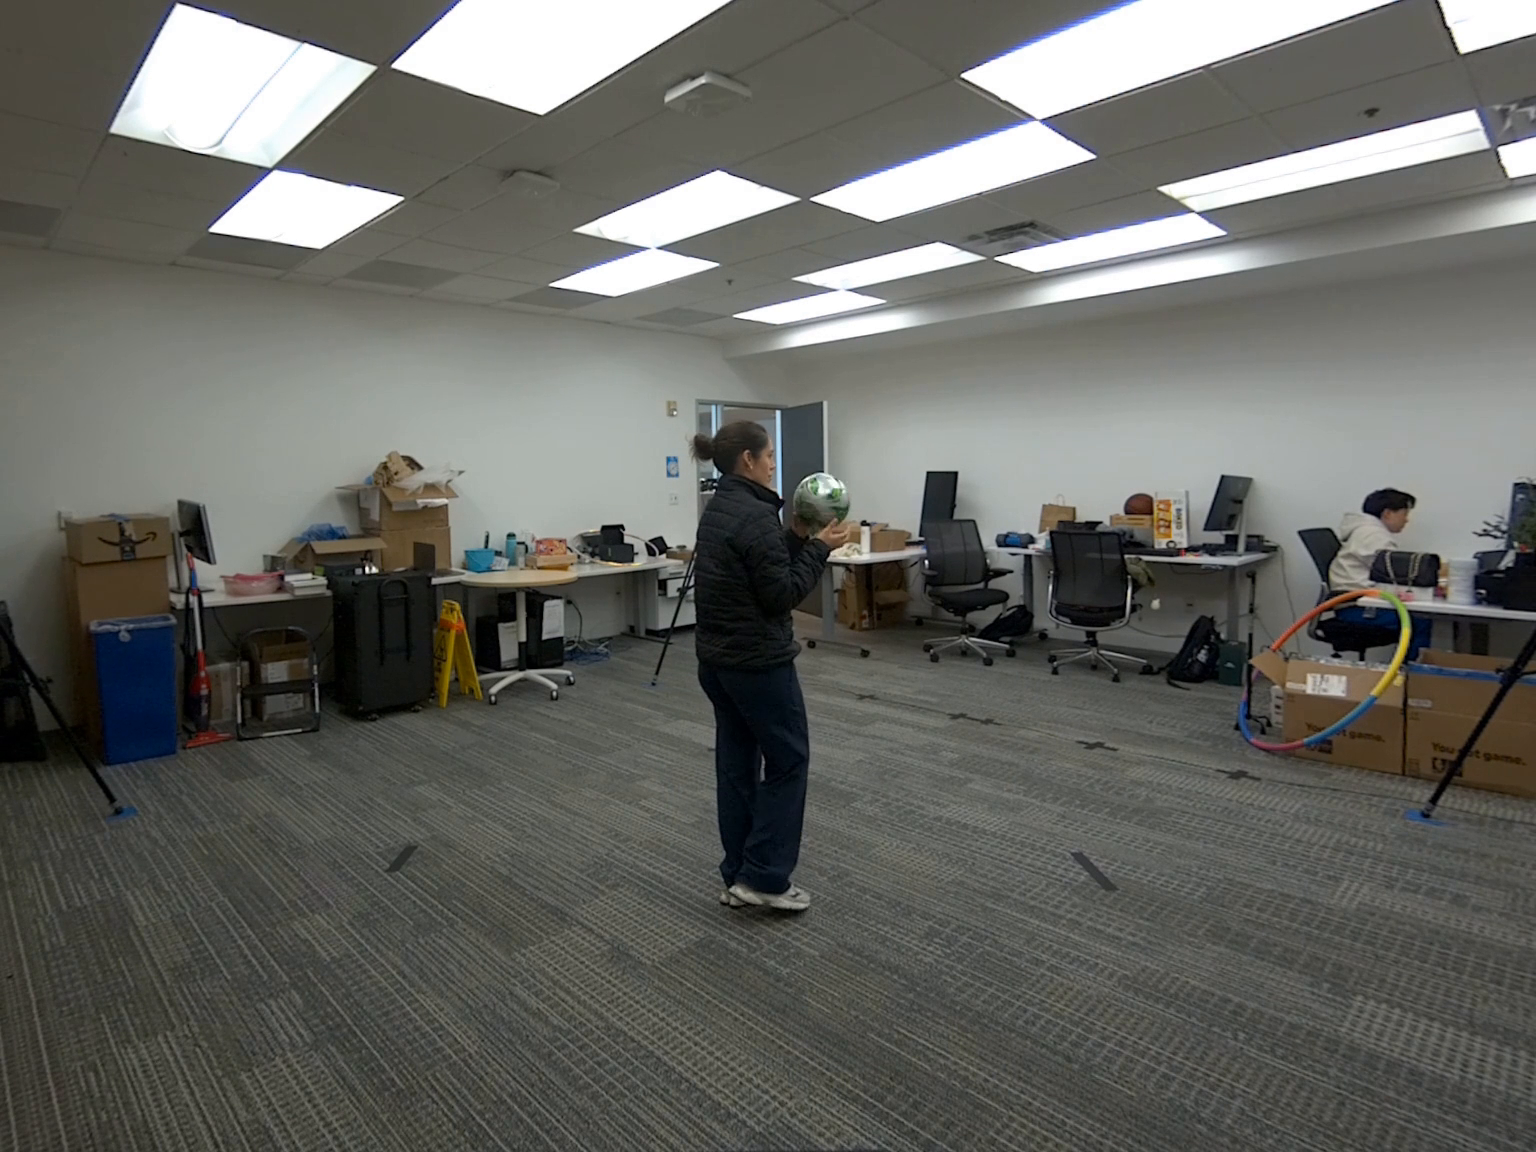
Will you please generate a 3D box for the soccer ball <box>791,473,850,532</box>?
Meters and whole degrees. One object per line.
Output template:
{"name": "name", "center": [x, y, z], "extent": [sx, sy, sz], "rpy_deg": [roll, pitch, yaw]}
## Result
{"name": "soccer ball", "center": [0.187, -0.235, 2.833], "extent": [0.187, 0.187, 0.188], "rpy_deg": [-1, 5, -2]}
